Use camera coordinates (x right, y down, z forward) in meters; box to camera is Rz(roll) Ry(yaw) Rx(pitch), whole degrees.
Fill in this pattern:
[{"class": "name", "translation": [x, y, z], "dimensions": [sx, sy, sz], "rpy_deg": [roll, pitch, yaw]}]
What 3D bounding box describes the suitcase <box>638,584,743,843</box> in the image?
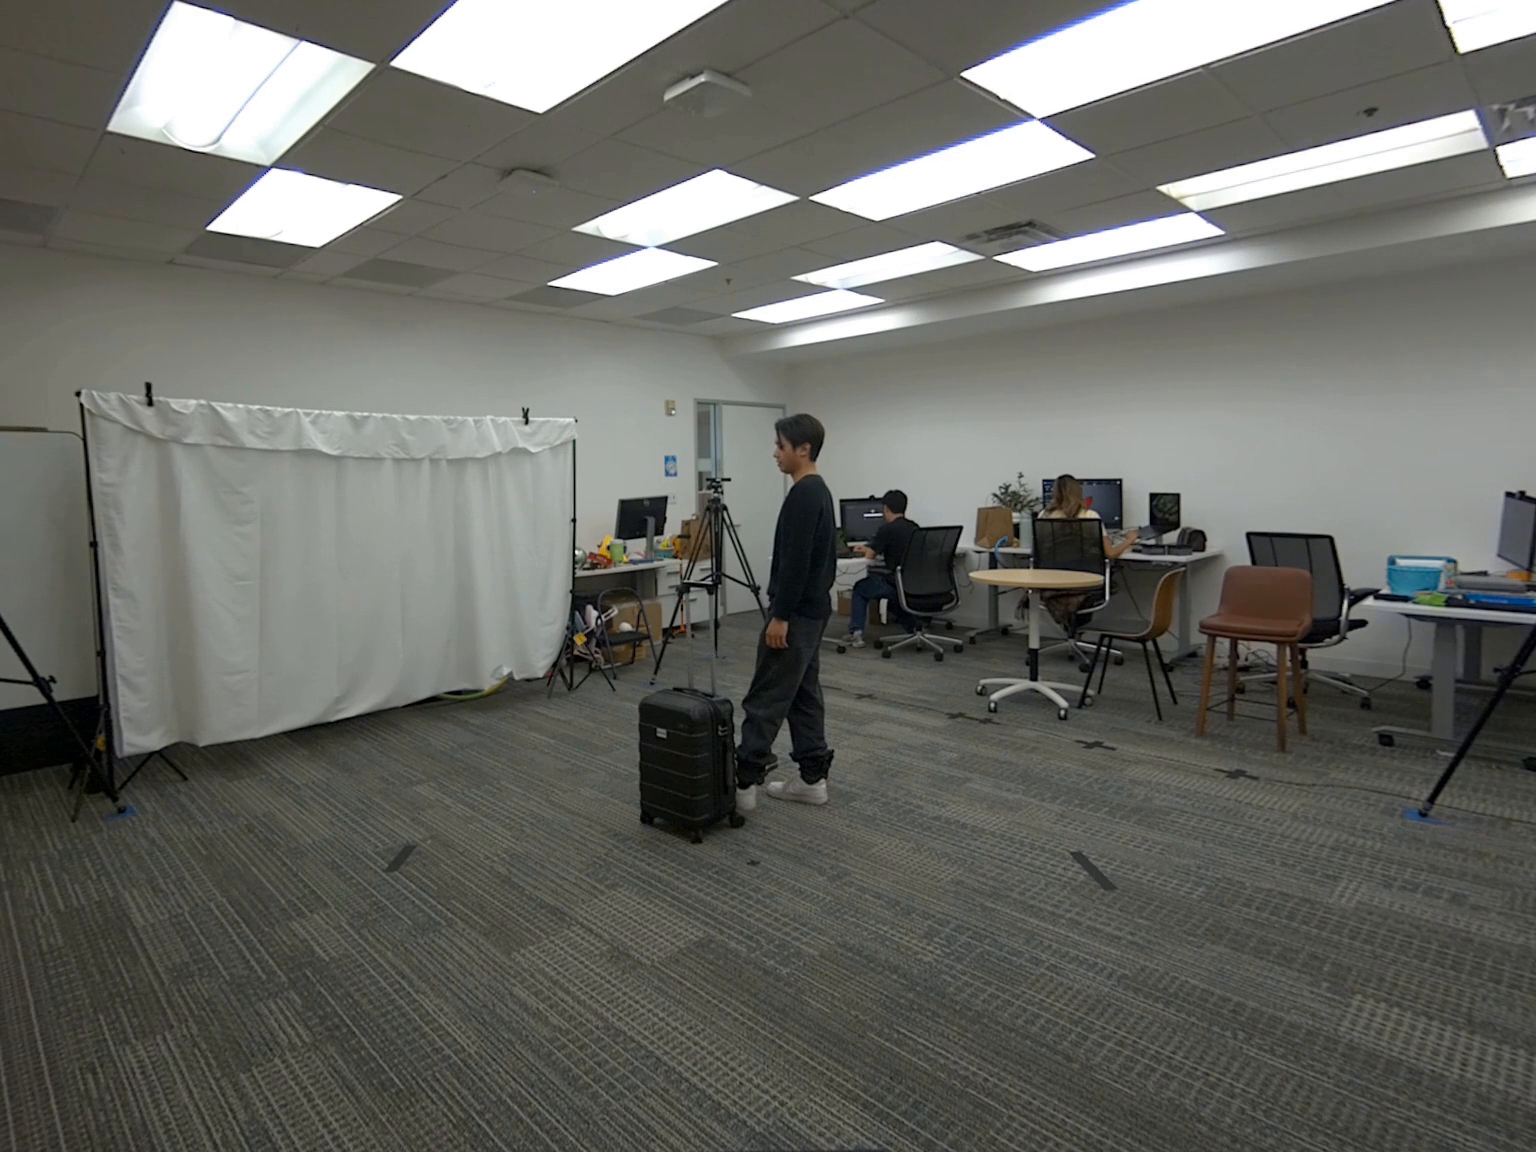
[{"class": "suitcase", "translation": [-0.329, 0.532, 3.411], "dimensions": [0.396, 0.974, 0.250], "rpy_deg": [3, 6, 41]}]
